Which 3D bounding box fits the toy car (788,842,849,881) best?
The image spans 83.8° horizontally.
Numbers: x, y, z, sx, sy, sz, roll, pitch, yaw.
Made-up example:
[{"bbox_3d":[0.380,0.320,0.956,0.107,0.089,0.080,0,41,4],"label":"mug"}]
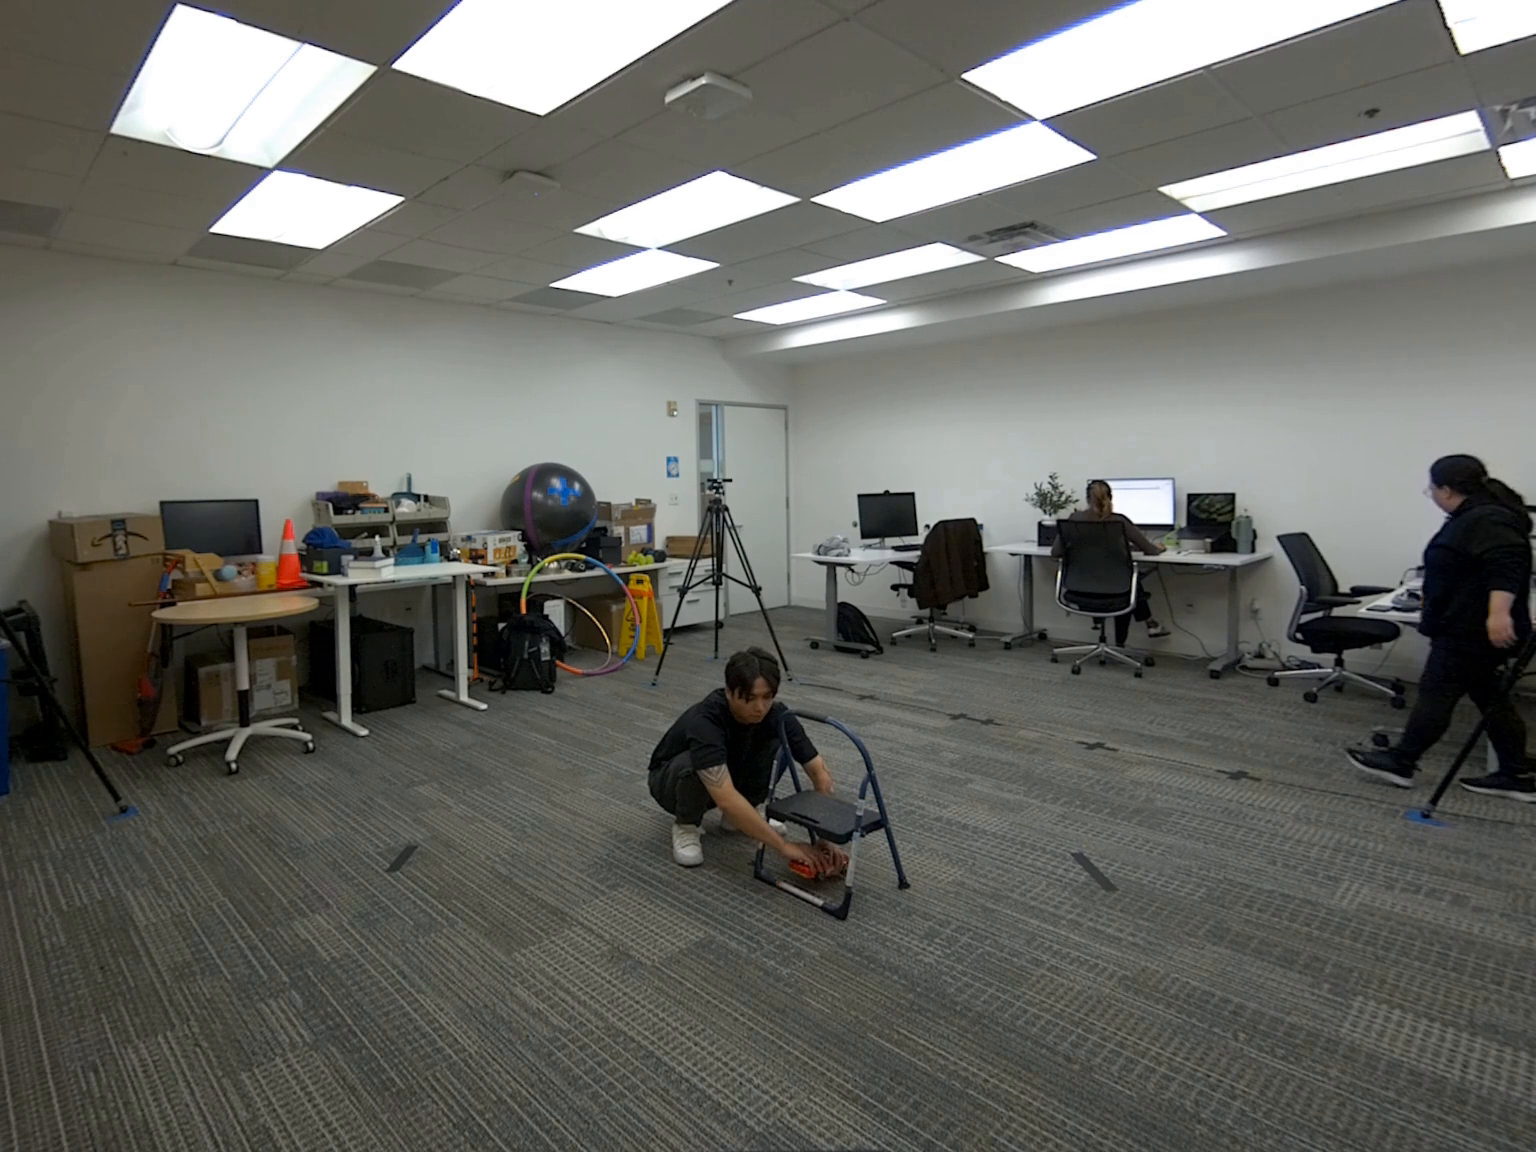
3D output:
[{"bbox_3d":[0.177,1.004,2.945,0.134,0.084,0.245,7,-11,42],"label":"toy car"}]
